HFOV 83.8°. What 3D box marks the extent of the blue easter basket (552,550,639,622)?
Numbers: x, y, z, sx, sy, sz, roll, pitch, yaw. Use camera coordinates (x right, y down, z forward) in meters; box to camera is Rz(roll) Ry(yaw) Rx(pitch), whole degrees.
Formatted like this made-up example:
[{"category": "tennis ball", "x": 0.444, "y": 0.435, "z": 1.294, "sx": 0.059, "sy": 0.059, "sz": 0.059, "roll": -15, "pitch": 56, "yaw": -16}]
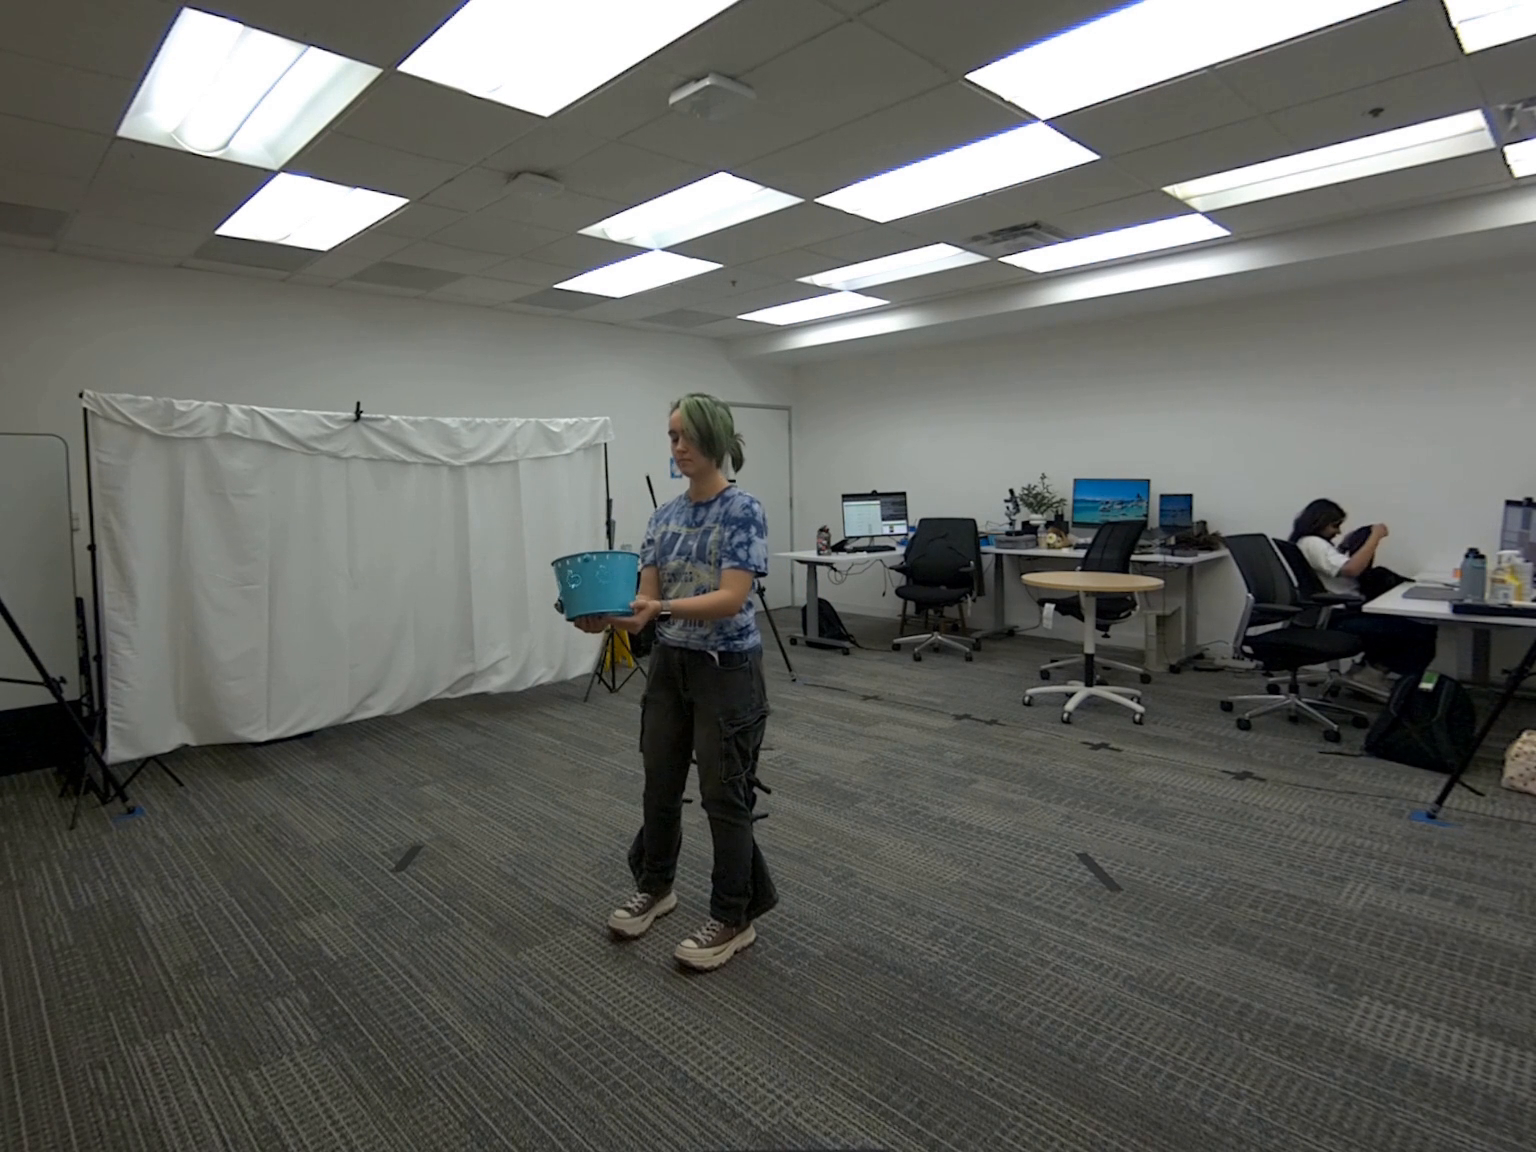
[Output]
[{"category": "blue easter basket", "x": -0.452, "y": 0.038, "z": 2.247, "sx": 0.243, "sy": 0.157, "sz": 0.242, "roll": -7, "pitch": -7, "yaw": -3}]
